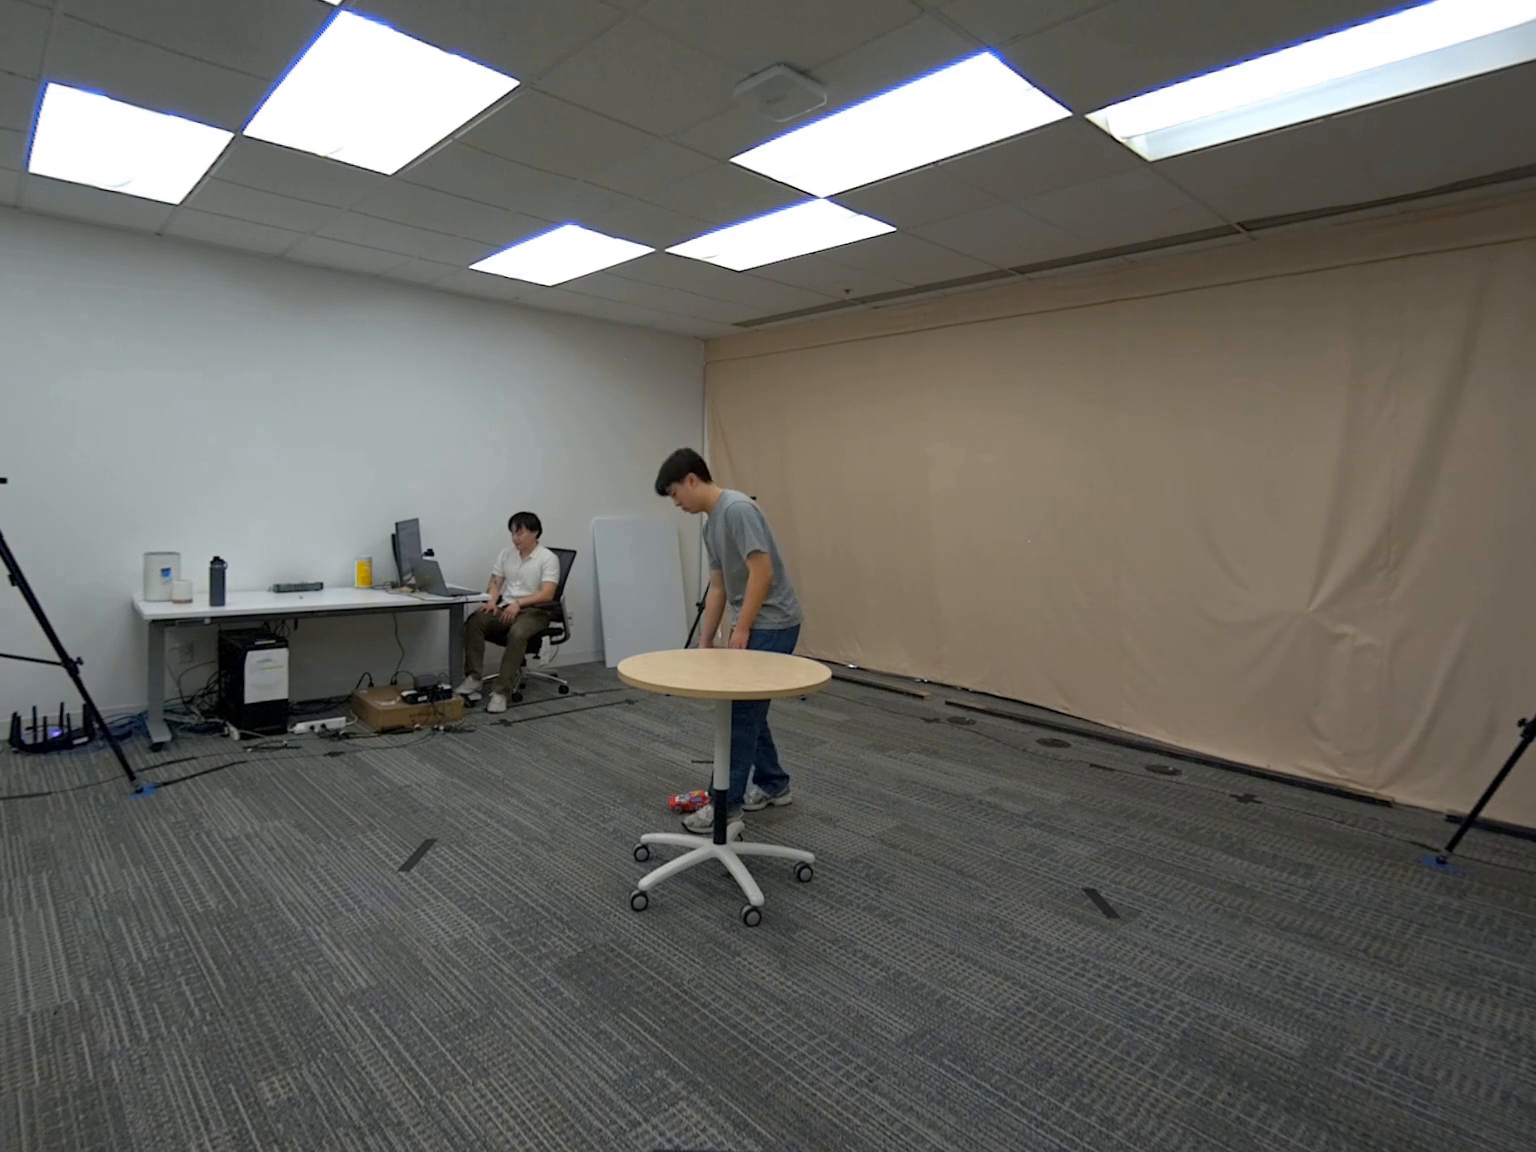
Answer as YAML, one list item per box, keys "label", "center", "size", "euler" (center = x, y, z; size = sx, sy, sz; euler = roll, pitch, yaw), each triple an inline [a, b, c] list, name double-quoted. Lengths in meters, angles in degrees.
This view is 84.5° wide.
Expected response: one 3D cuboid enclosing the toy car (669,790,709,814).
- label: "toy car"
  center: [-0.324, 1.011, 3.770]
  size: [0.253, 0.083, 0.131]
  euler: [-11, 6, -9]
